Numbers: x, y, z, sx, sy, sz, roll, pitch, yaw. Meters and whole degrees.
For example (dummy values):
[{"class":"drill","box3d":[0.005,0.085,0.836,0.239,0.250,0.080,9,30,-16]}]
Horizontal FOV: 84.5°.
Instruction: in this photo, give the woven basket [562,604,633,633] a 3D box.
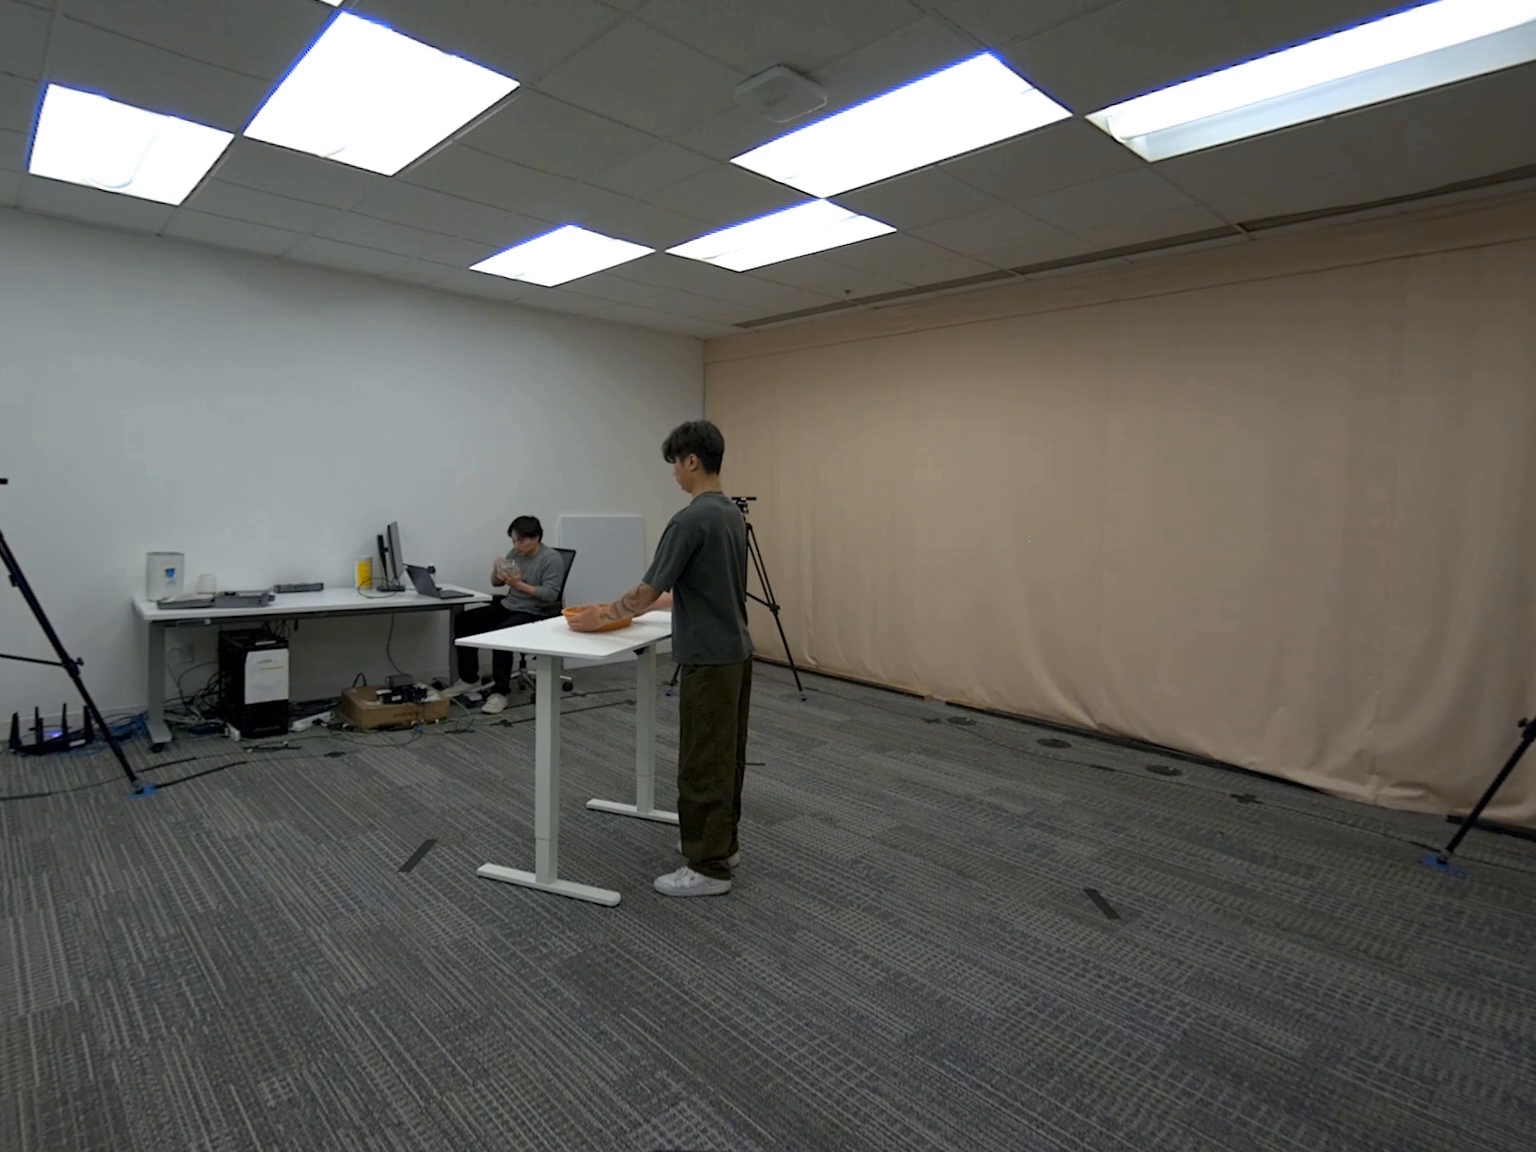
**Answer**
[{"class":"woven basket","box3d":[-0.638,0.159,3.280,0.257,0.073,0.345,2,6,25]}]
